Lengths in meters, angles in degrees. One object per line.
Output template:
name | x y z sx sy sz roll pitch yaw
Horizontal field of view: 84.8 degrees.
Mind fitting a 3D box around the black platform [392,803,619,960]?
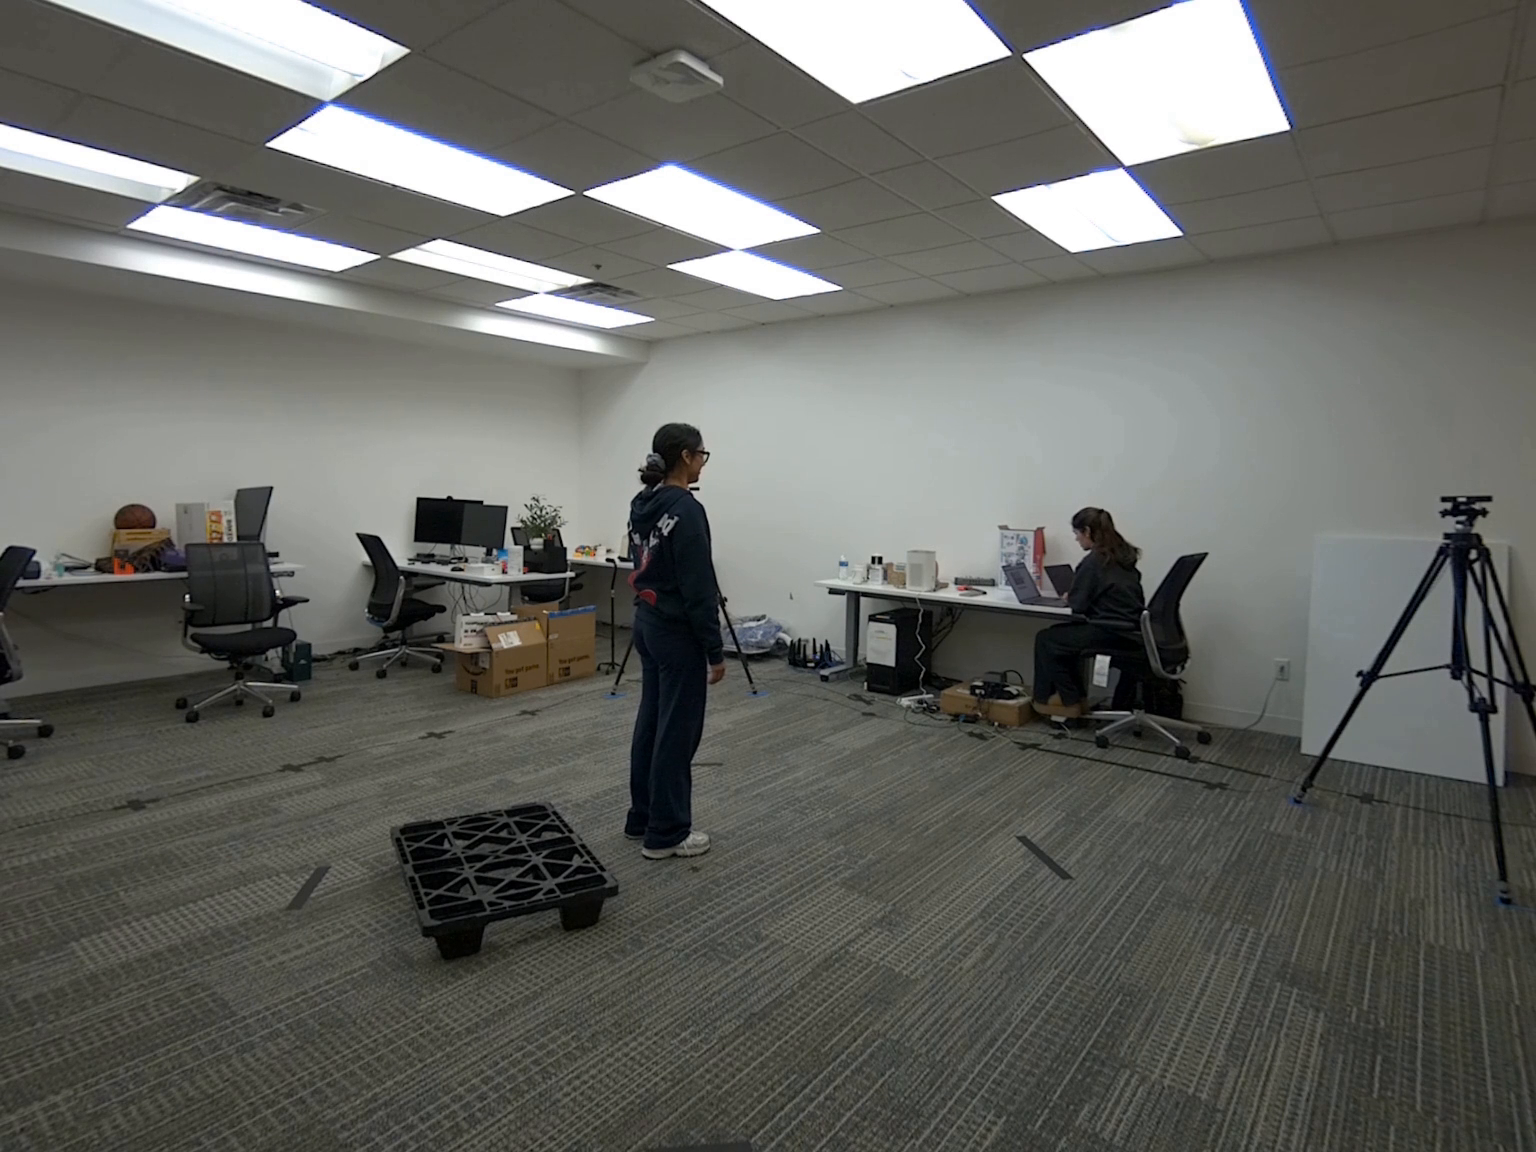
black platform | -0.938 1.010 2.908 0.589 0.143 0.830 -2 6 -30
